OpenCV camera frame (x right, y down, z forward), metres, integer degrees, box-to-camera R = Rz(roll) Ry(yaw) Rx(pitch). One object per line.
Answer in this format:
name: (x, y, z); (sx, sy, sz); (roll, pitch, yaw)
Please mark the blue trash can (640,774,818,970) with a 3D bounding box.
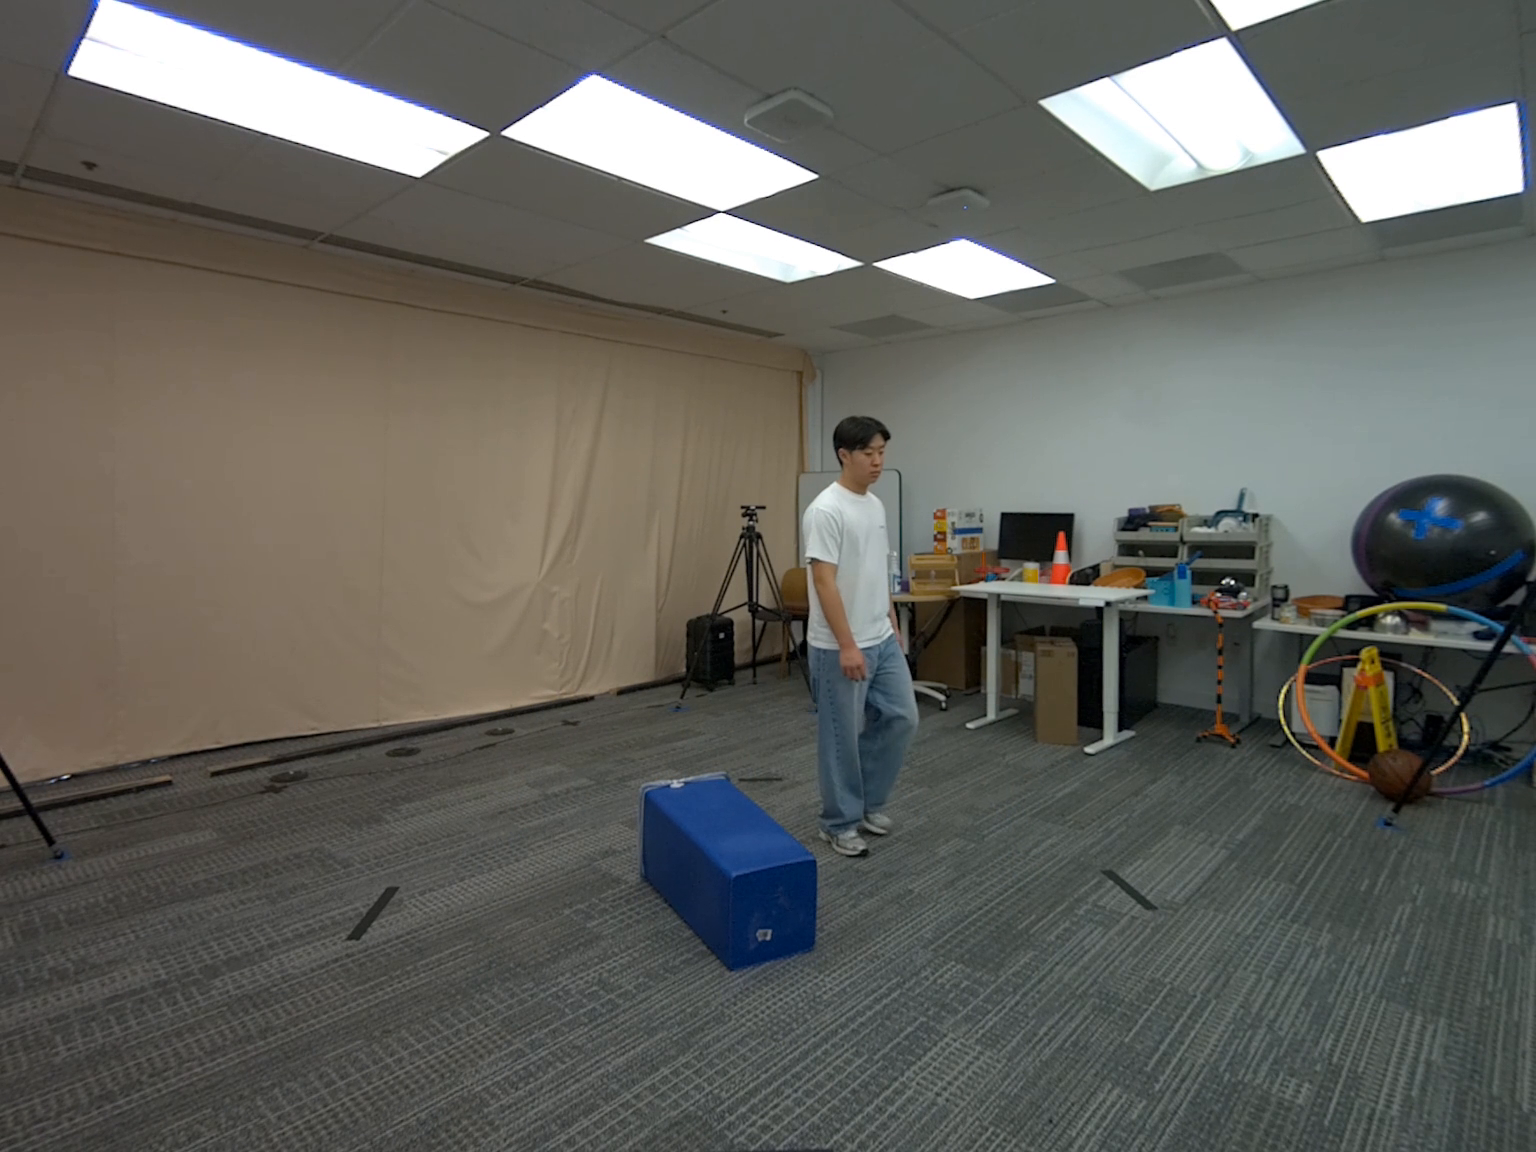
blue trash can: (-0.142, 0.989, 2.880); (0.364, 0.376, 0.734); (-2, 7, -28)
